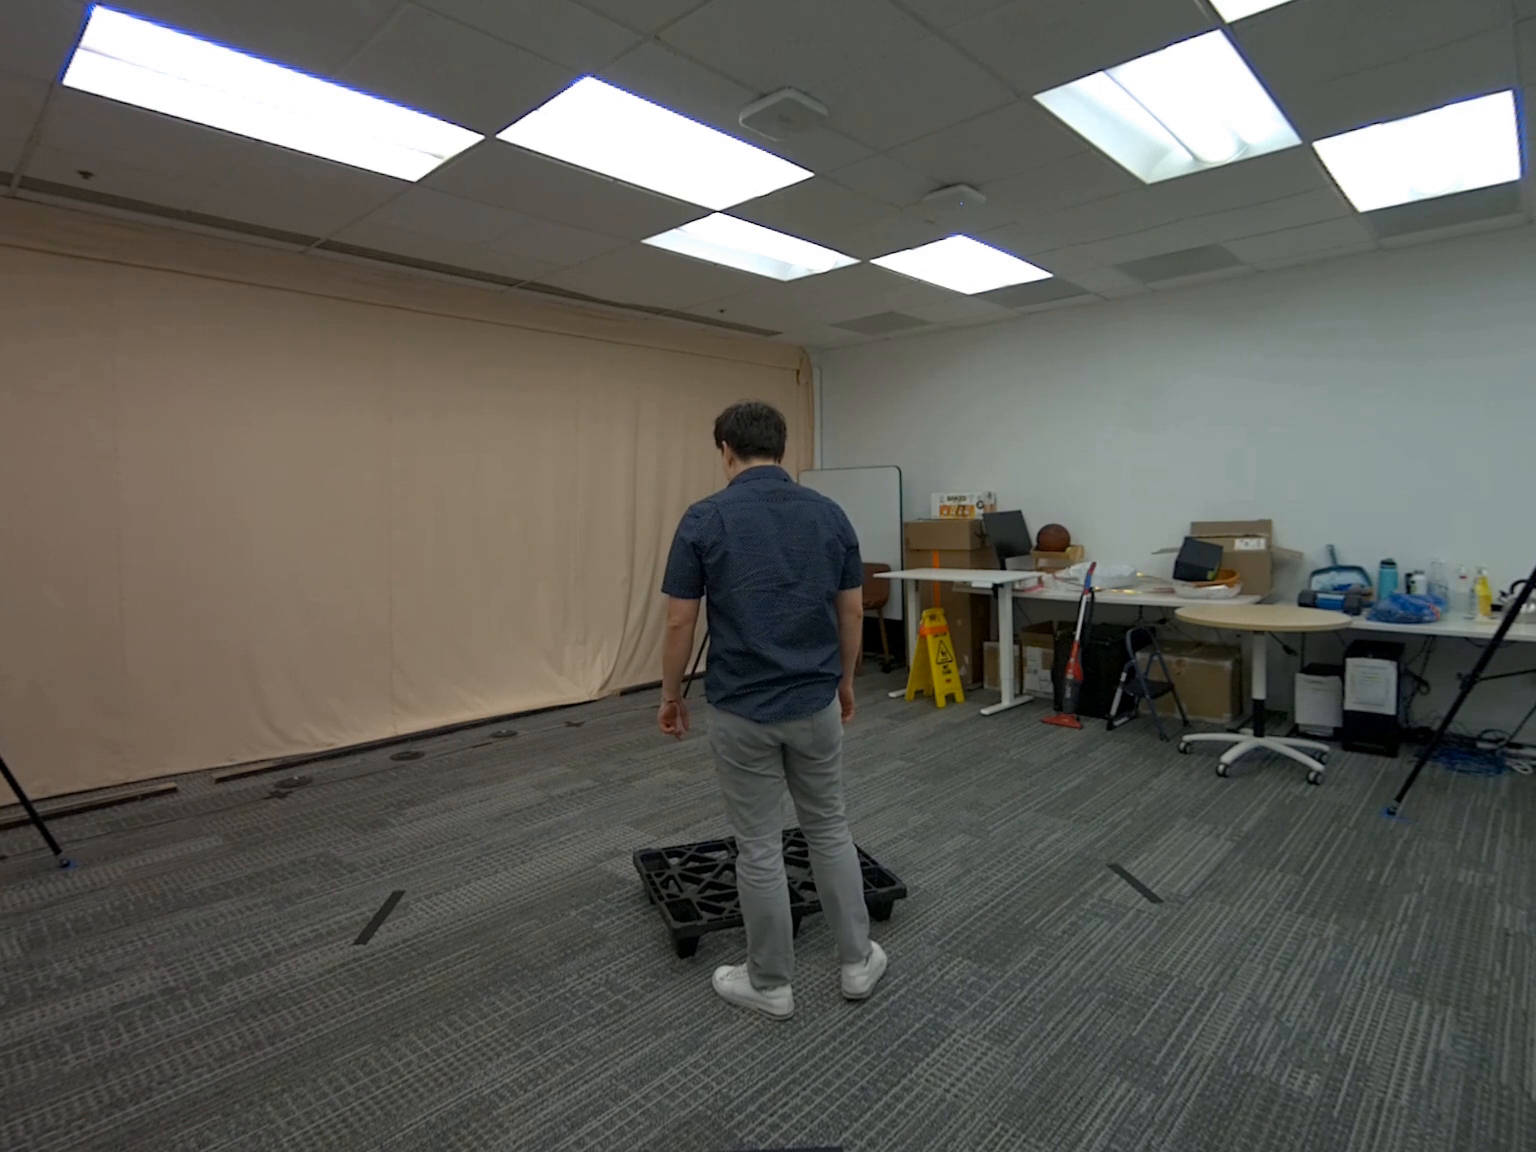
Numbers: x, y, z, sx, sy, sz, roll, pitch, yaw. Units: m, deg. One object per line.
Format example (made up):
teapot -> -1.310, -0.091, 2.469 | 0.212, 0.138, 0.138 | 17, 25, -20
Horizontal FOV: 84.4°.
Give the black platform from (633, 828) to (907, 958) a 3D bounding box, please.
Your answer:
black platform -> -0.018, 1.076, 2.920 | 0.791, 0.143, 0.618 | -2, 5, -19
